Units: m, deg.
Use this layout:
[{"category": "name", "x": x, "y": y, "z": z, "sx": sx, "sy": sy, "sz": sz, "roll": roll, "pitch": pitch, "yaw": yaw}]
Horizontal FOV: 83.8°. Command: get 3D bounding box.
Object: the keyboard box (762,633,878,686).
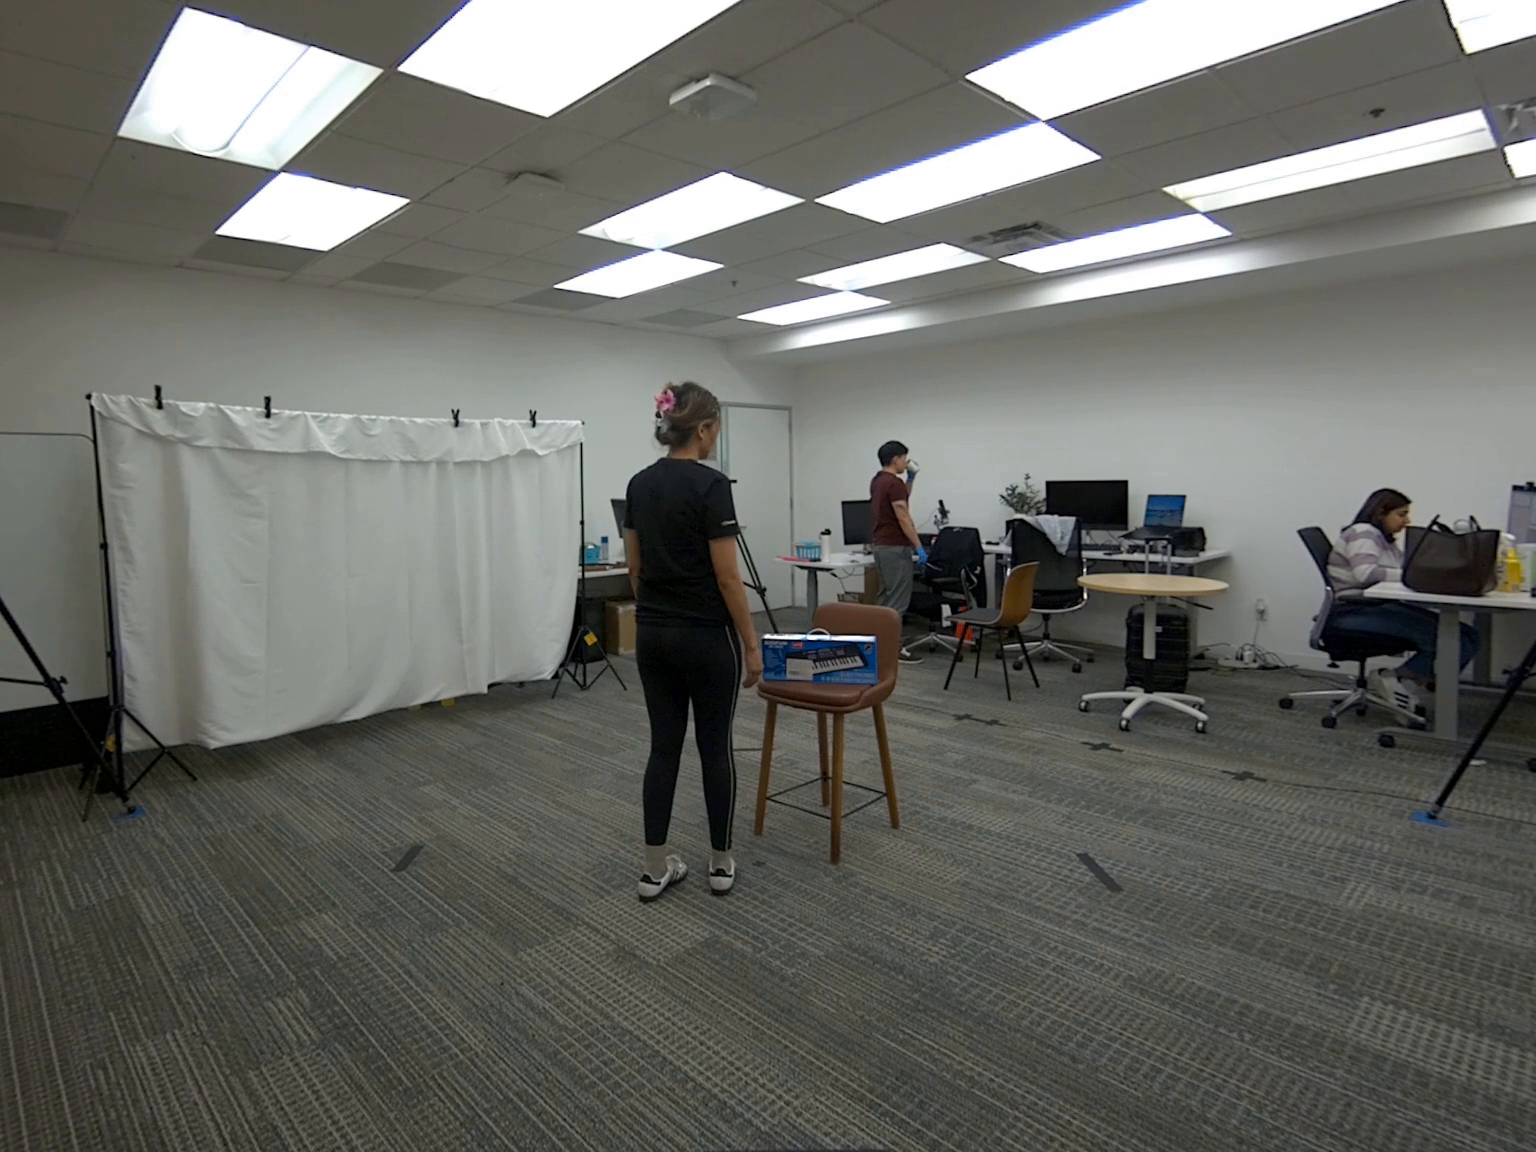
[{"category": "keyboard box", "x": 0.202, "y": 0.316, "z": 3.297, "sx": 0.443, "sy": 0.174, "sz": 0.059, "roll": 1, "pitch": 11, "yaw": 14}]
